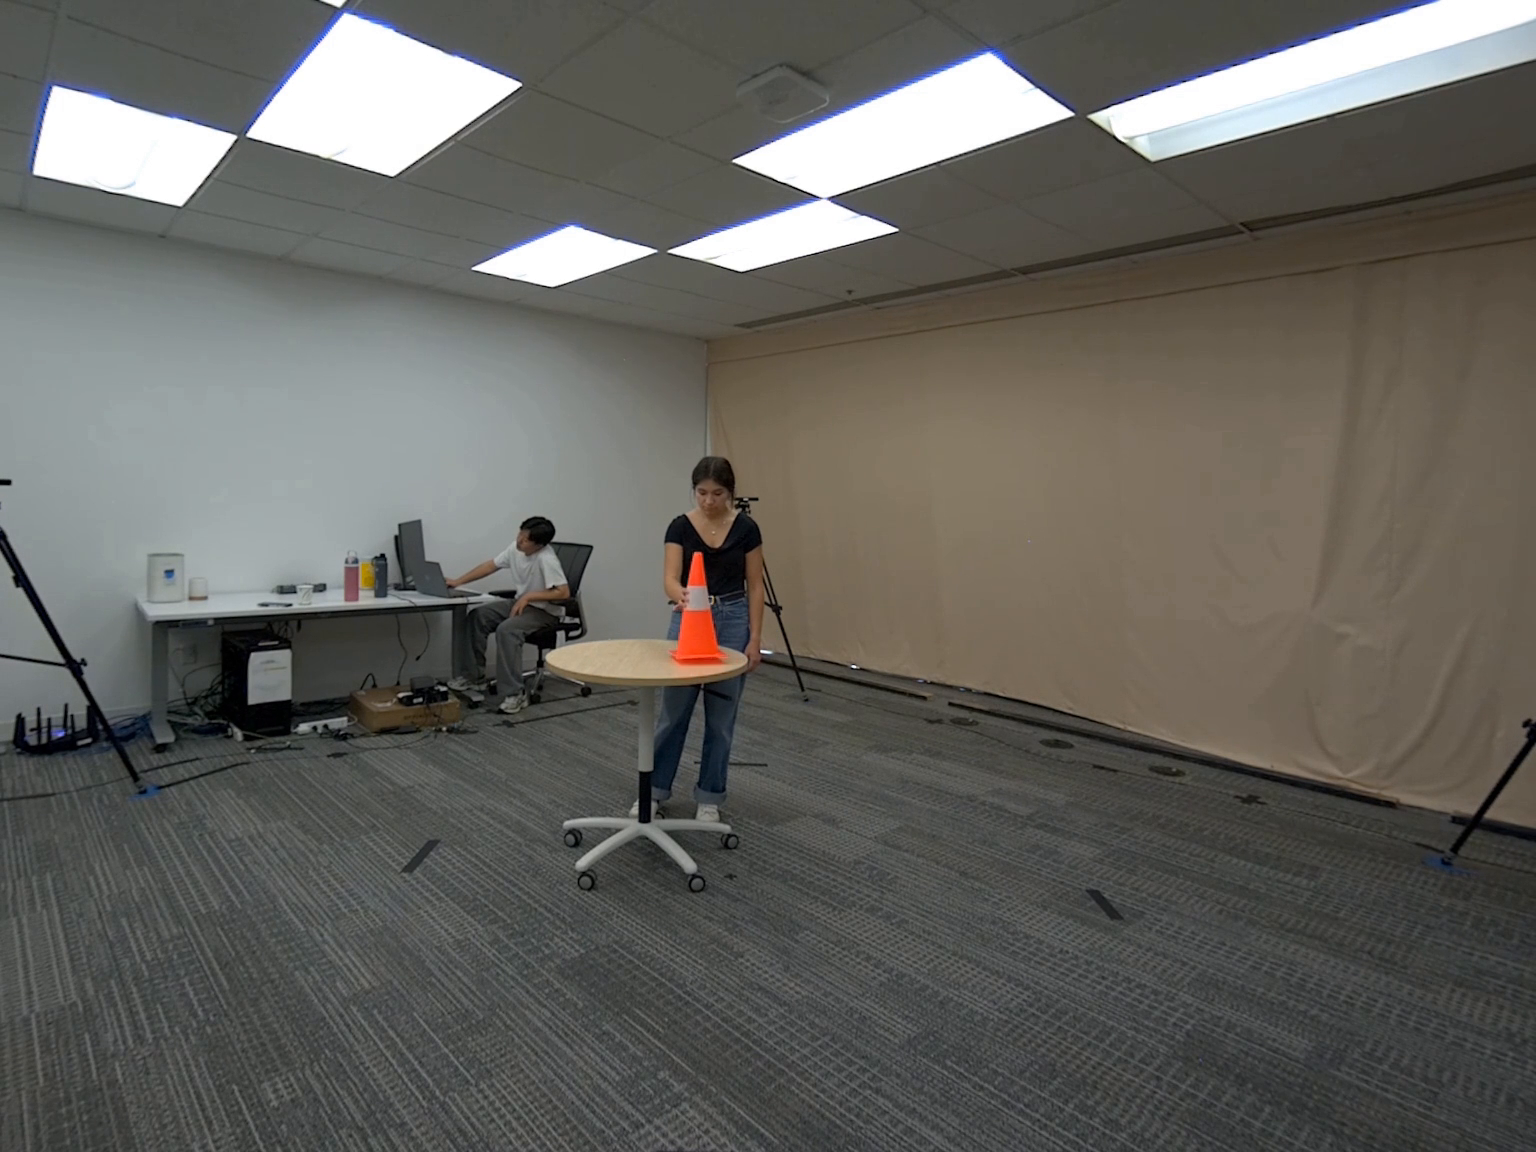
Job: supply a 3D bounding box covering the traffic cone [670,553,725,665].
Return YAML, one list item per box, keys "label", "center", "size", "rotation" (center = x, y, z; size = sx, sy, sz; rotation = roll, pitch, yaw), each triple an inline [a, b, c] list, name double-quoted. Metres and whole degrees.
- label: "traffic cone"
  center: [-0.285, 0.109, 3.173]
  size: [0.200, 0.383, 0.208]
  rotation: [-1, 1, -18]
